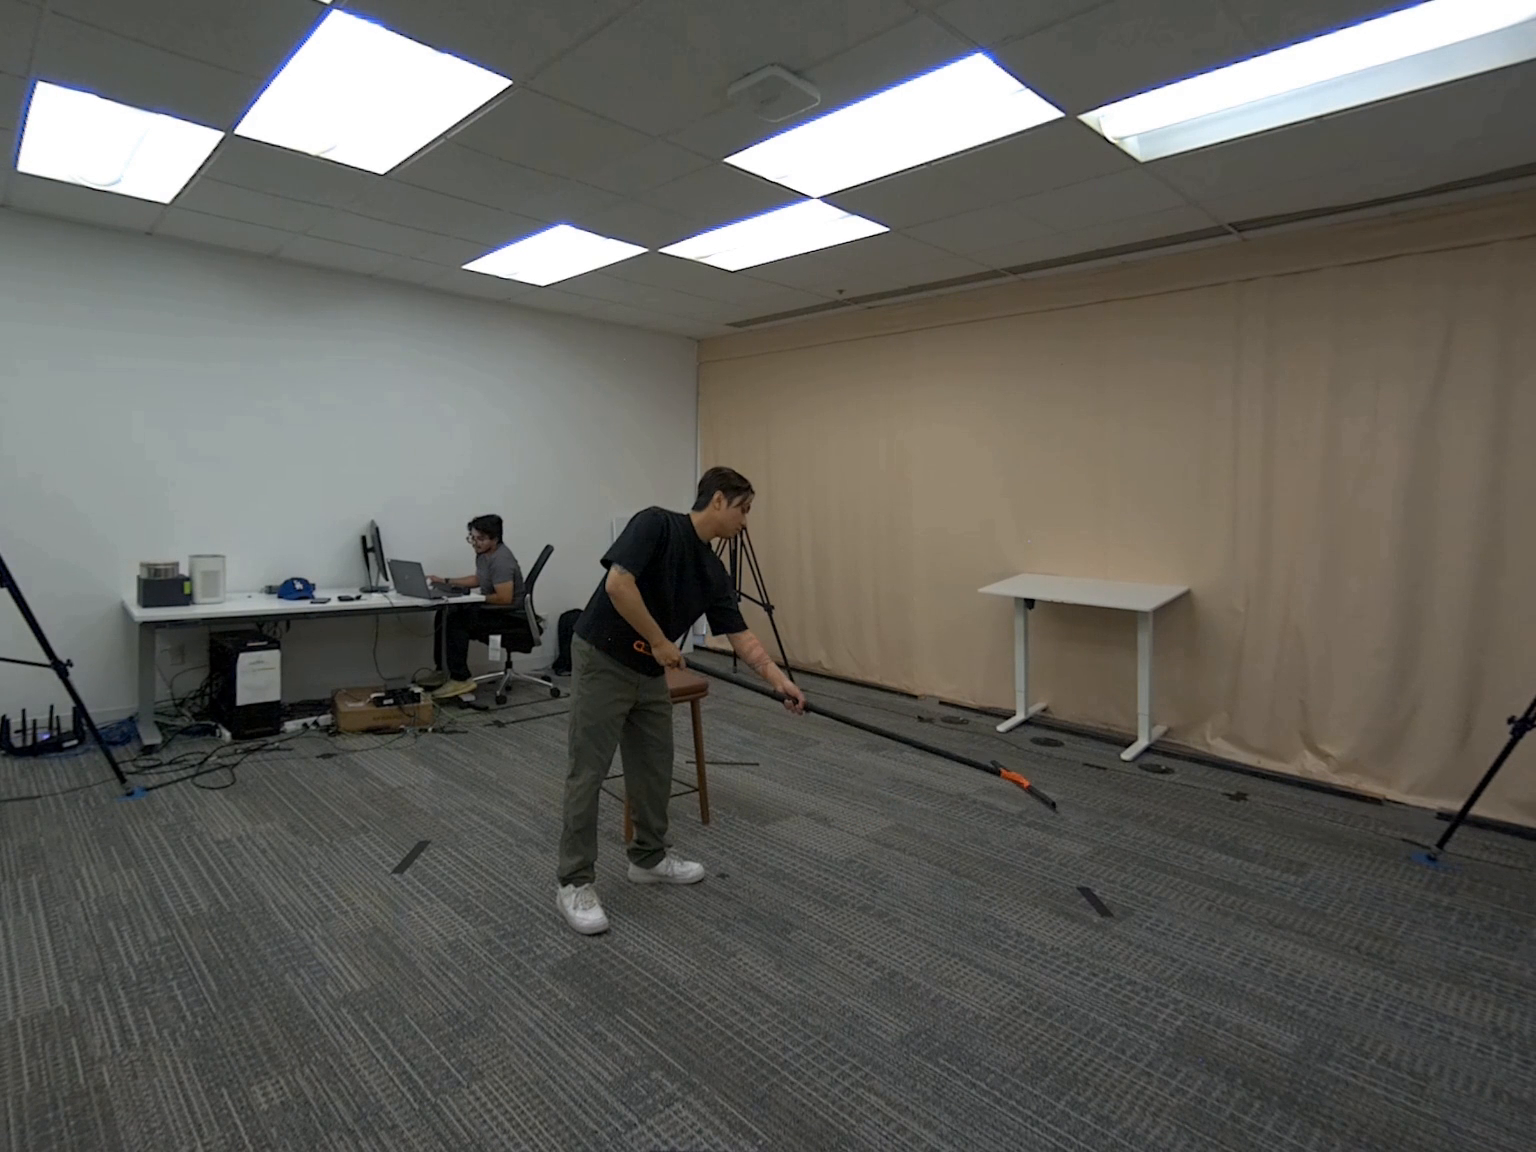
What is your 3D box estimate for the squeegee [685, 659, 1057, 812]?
[{"bbox_3d":[0.261,0.502,2.970,1.520,0.053,0.443,22,3,-11],"label":"squeegee"}]
